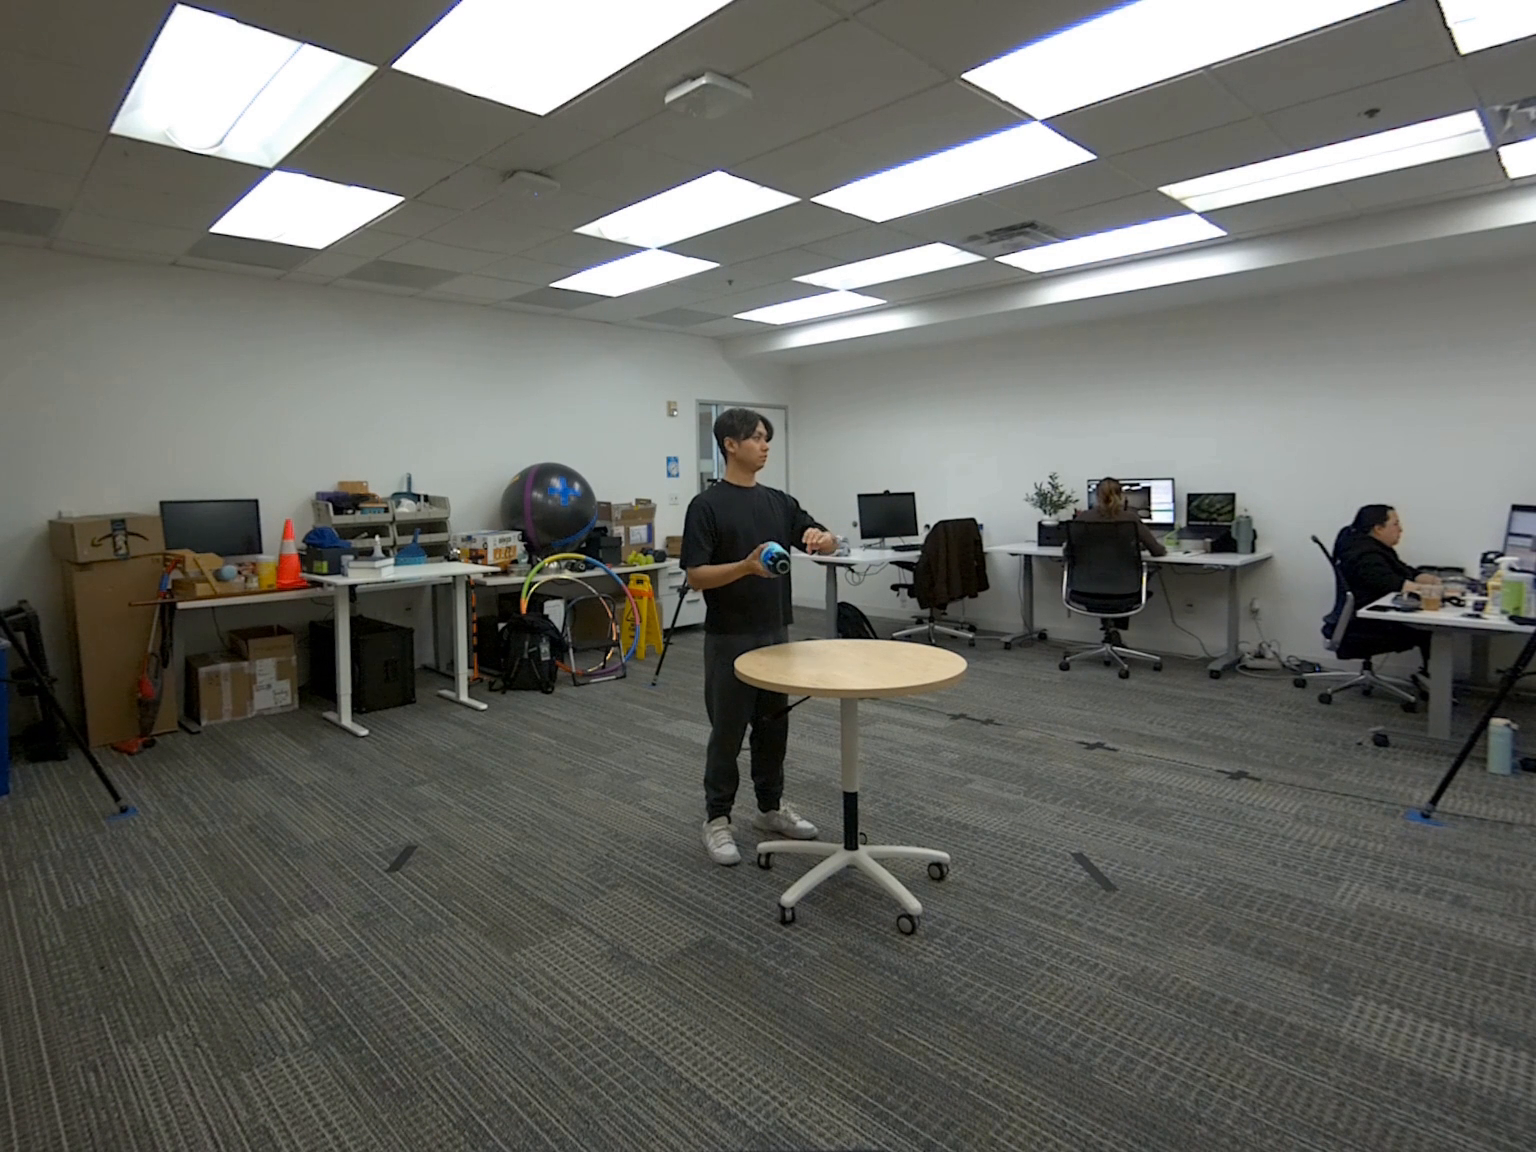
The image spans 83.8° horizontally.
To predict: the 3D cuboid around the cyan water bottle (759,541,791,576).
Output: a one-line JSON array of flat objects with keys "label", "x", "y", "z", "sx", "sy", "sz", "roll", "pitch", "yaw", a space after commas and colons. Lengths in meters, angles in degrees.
[{"label": "cyan water bottle", "x": 0.018, "y": -0.060, "z": 2.866, "sx": 0.092, "sy": 0.092, "sz": 0.284, "roll": -1, "pitch": 7, "yaw": 1}]
